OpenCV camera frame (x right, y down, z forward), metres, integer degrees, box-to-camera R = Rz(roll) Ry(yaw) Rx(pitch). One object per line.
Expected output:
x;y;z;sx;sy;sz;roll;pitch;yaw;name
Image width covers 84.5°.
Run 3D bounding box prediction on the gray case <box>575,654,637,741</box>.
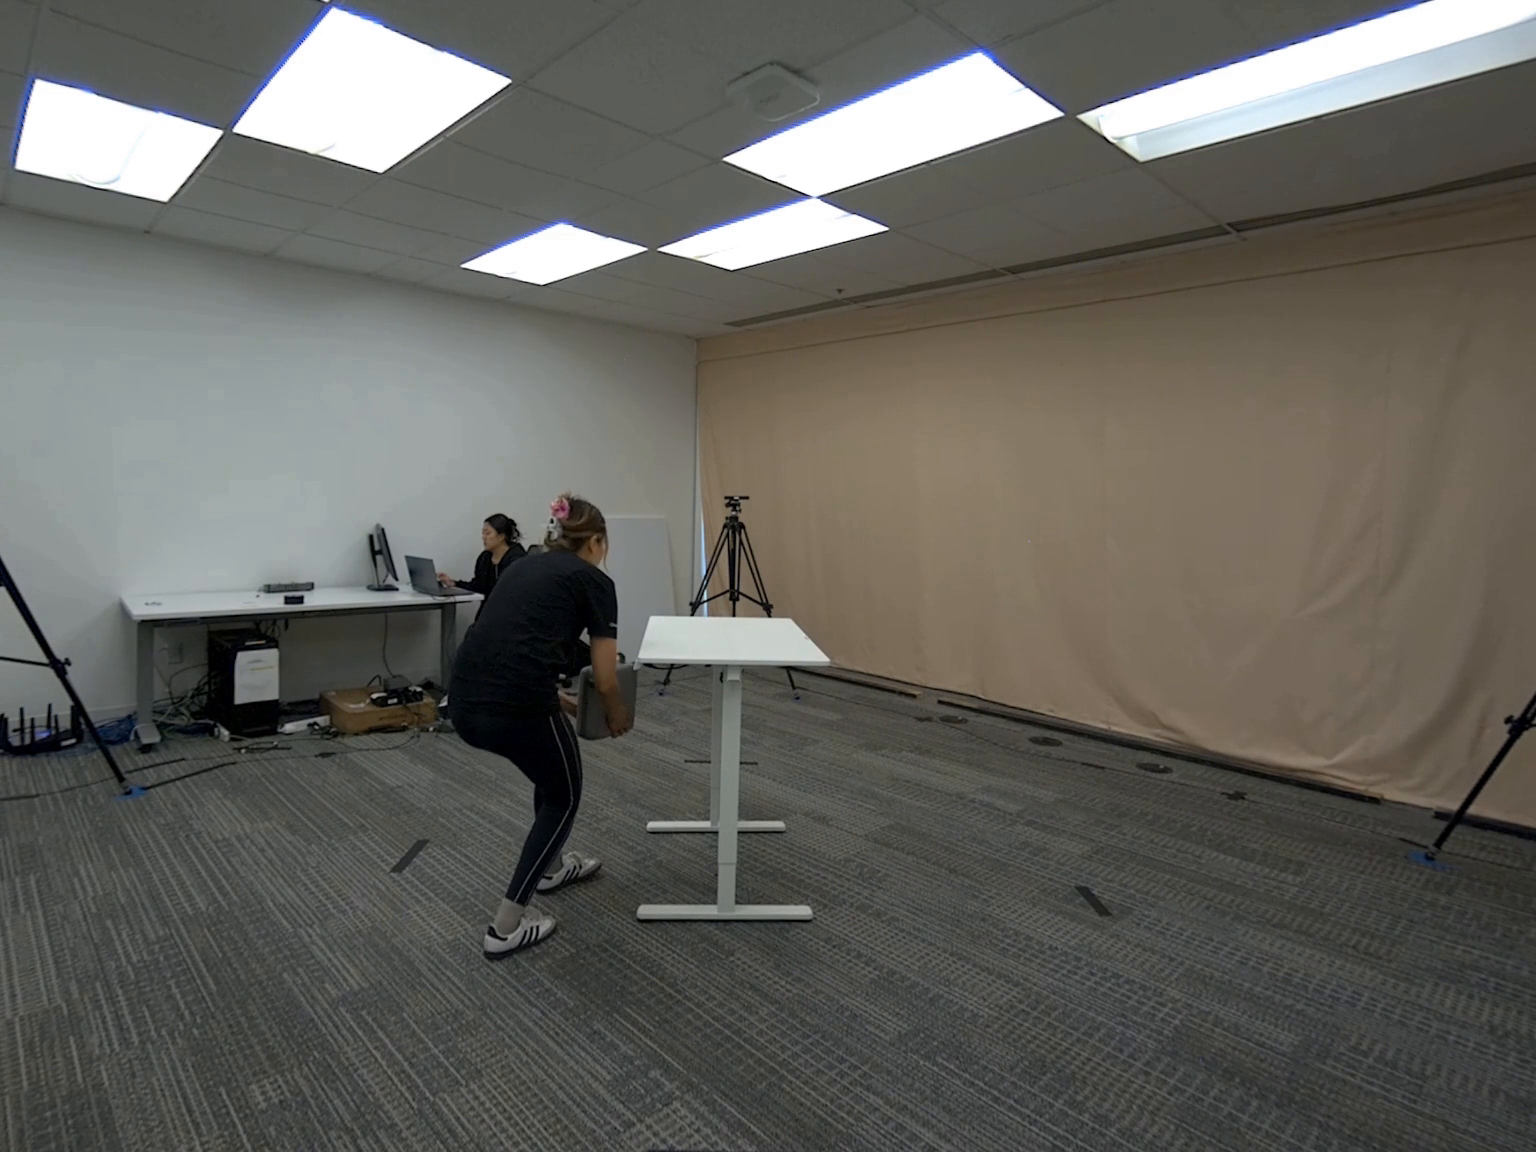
-0.574;0.438;3.003;0.106;0.260;0.253;2;2;20;gray case
